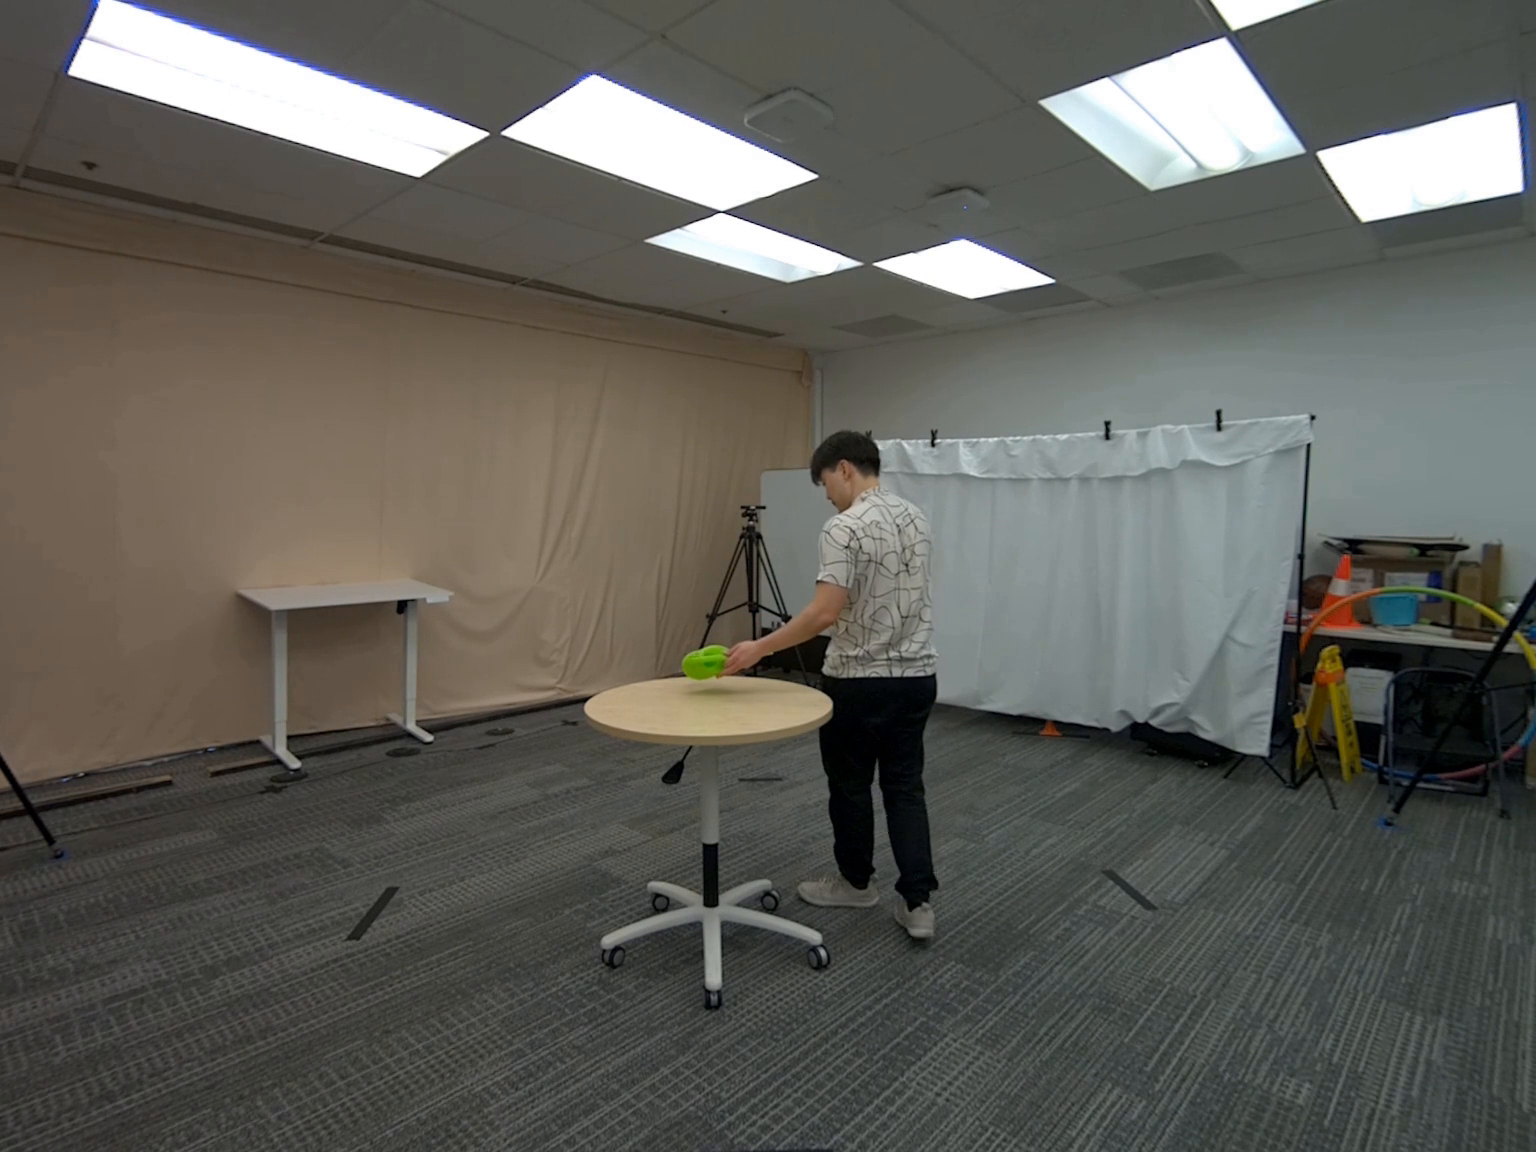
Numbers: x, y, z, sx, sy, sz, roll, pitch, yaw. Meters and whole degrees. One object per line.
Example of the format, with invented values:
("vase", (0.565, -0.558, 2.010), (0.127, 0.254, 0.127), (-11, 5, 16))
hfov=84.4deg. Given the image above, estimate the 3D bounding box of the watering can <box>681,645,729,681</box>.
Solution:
("watering can", (-0.145, 0.289, 2.742), (0.271, 0.099, 0.180), (12, -20, -25))
